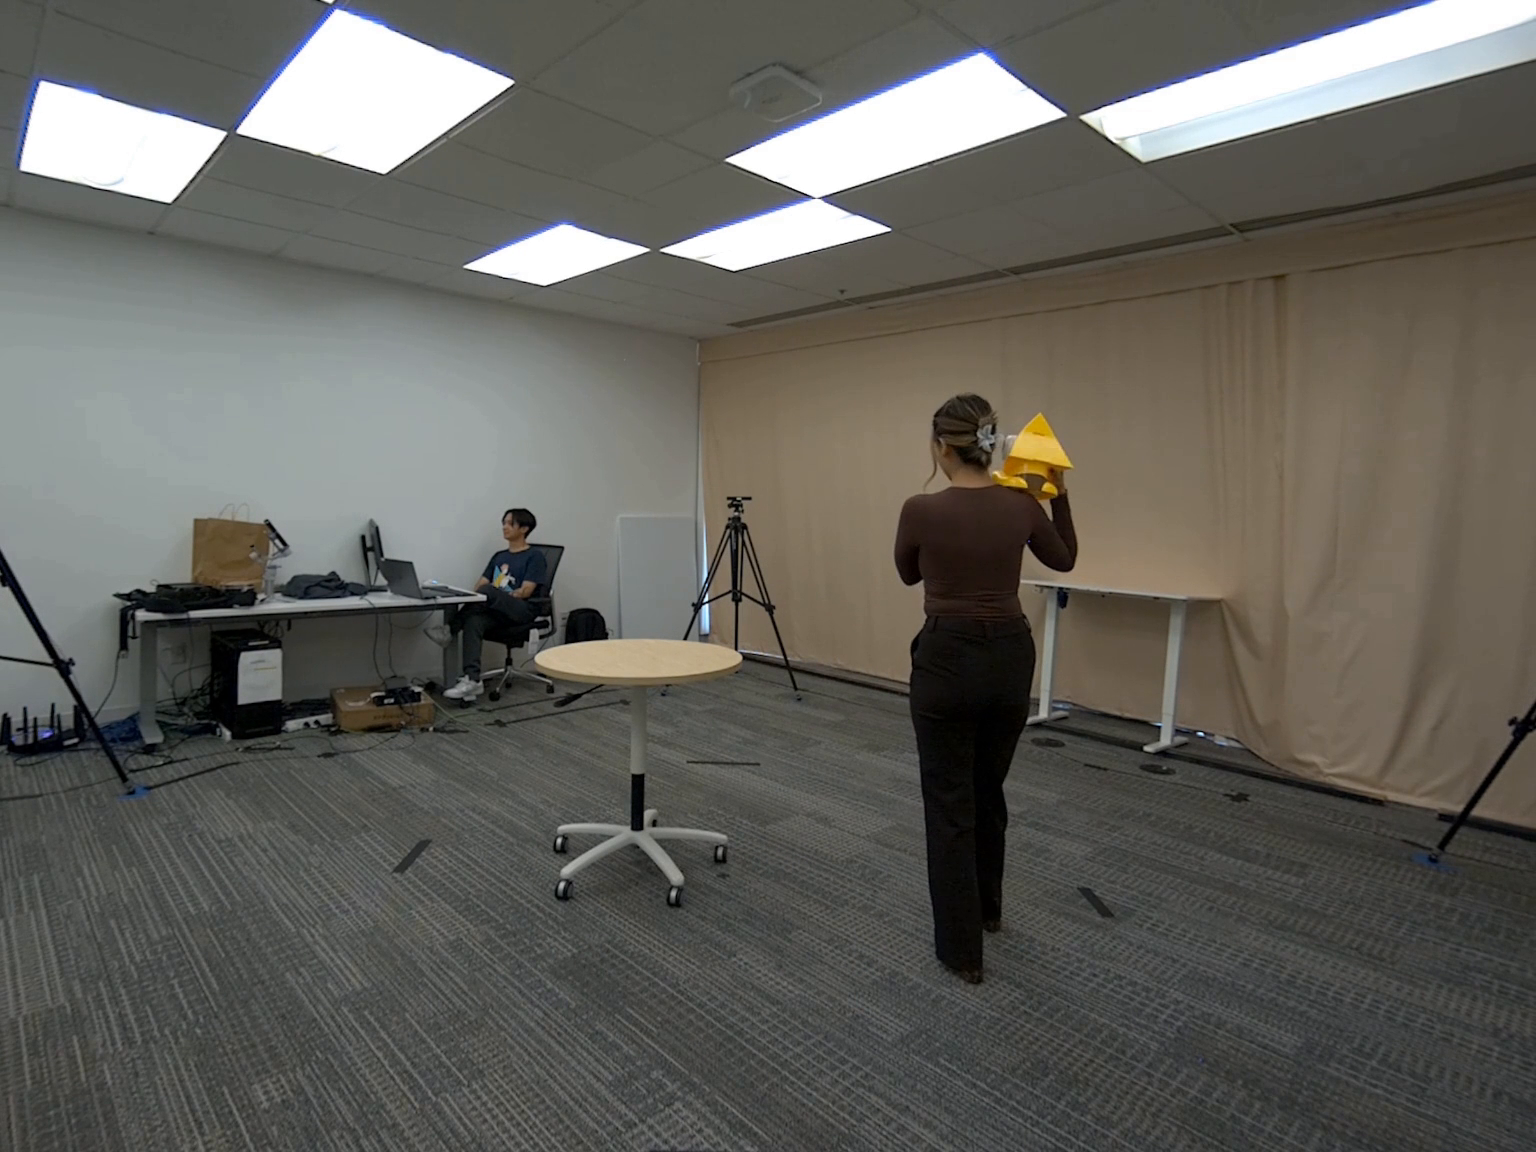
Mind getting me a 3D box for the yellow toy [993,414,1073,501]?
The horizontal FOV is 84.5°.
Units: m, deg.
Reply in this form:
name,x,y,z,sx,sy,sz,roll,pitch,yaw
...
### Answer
name,x,y,z,sx,sy,sz,roll,pitch,yaw
yellow toy,0.758,-0.359,2.509,0.202,0.232,0.194,8,-7,-14
